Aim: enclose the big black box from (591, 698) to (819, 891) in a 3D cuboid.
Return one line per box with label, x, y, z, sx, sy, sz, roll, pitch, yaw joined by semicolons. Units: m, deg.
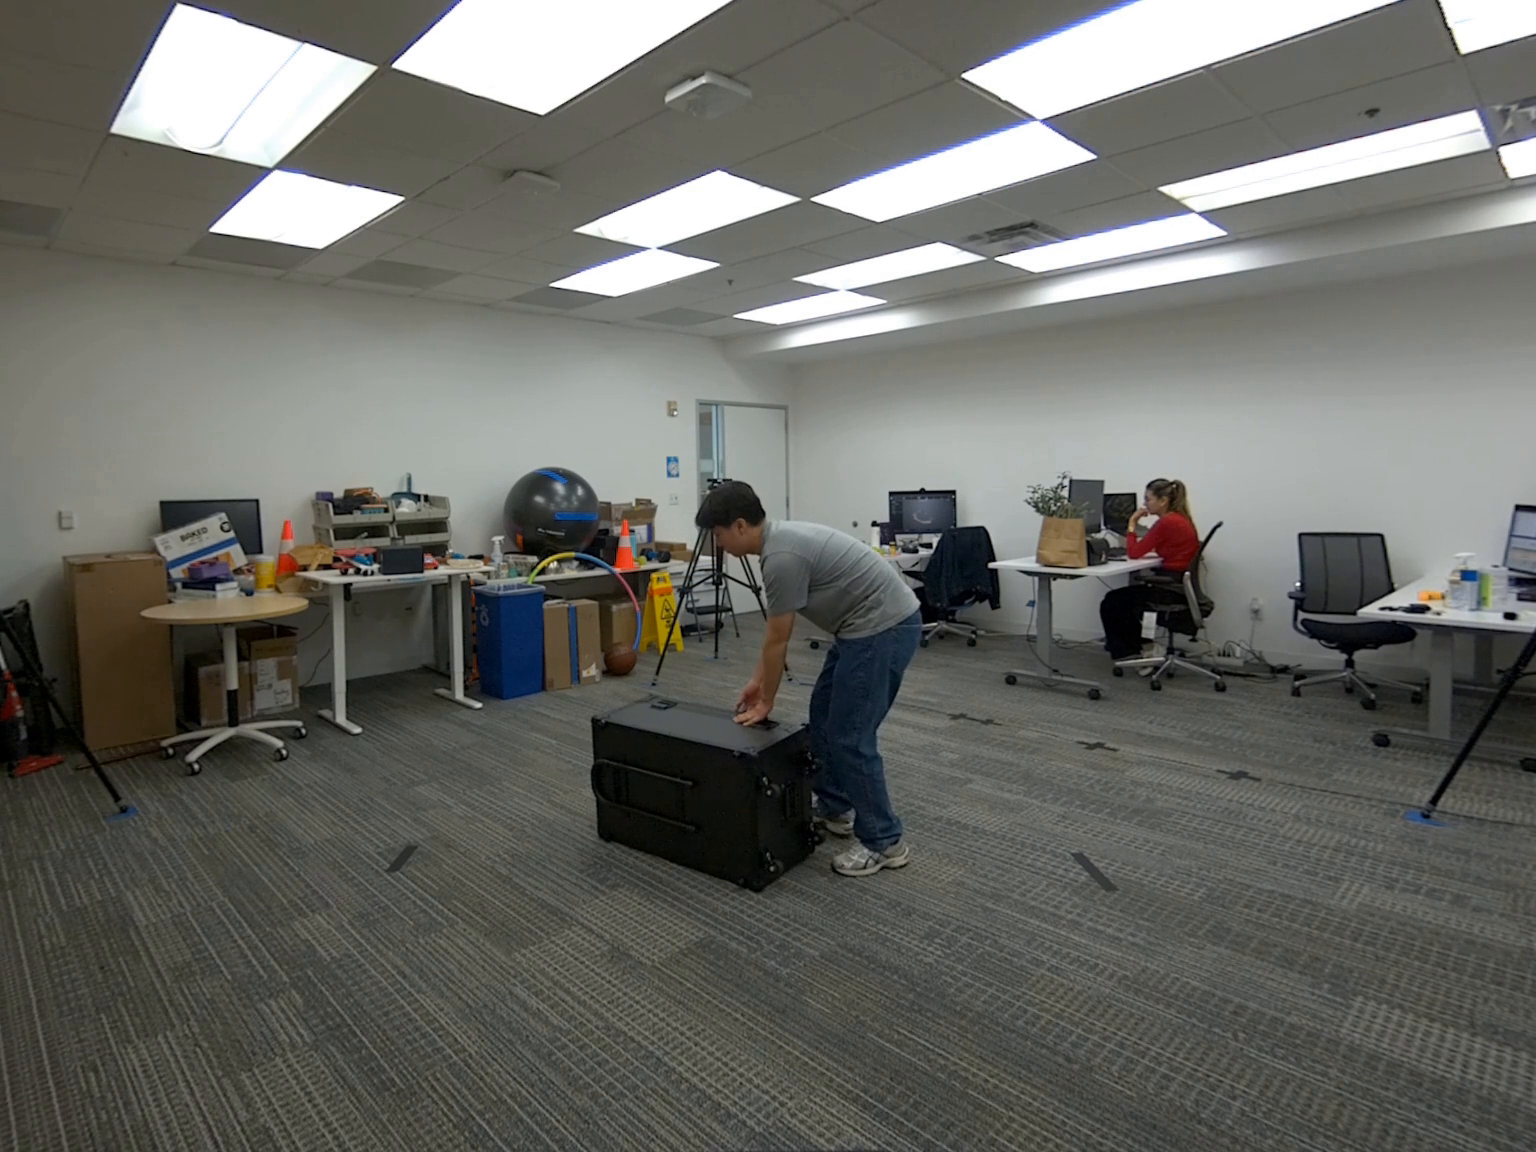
big black box;-0.240;0.781;3.205;0.887;0.518;0.387;4;8;36
